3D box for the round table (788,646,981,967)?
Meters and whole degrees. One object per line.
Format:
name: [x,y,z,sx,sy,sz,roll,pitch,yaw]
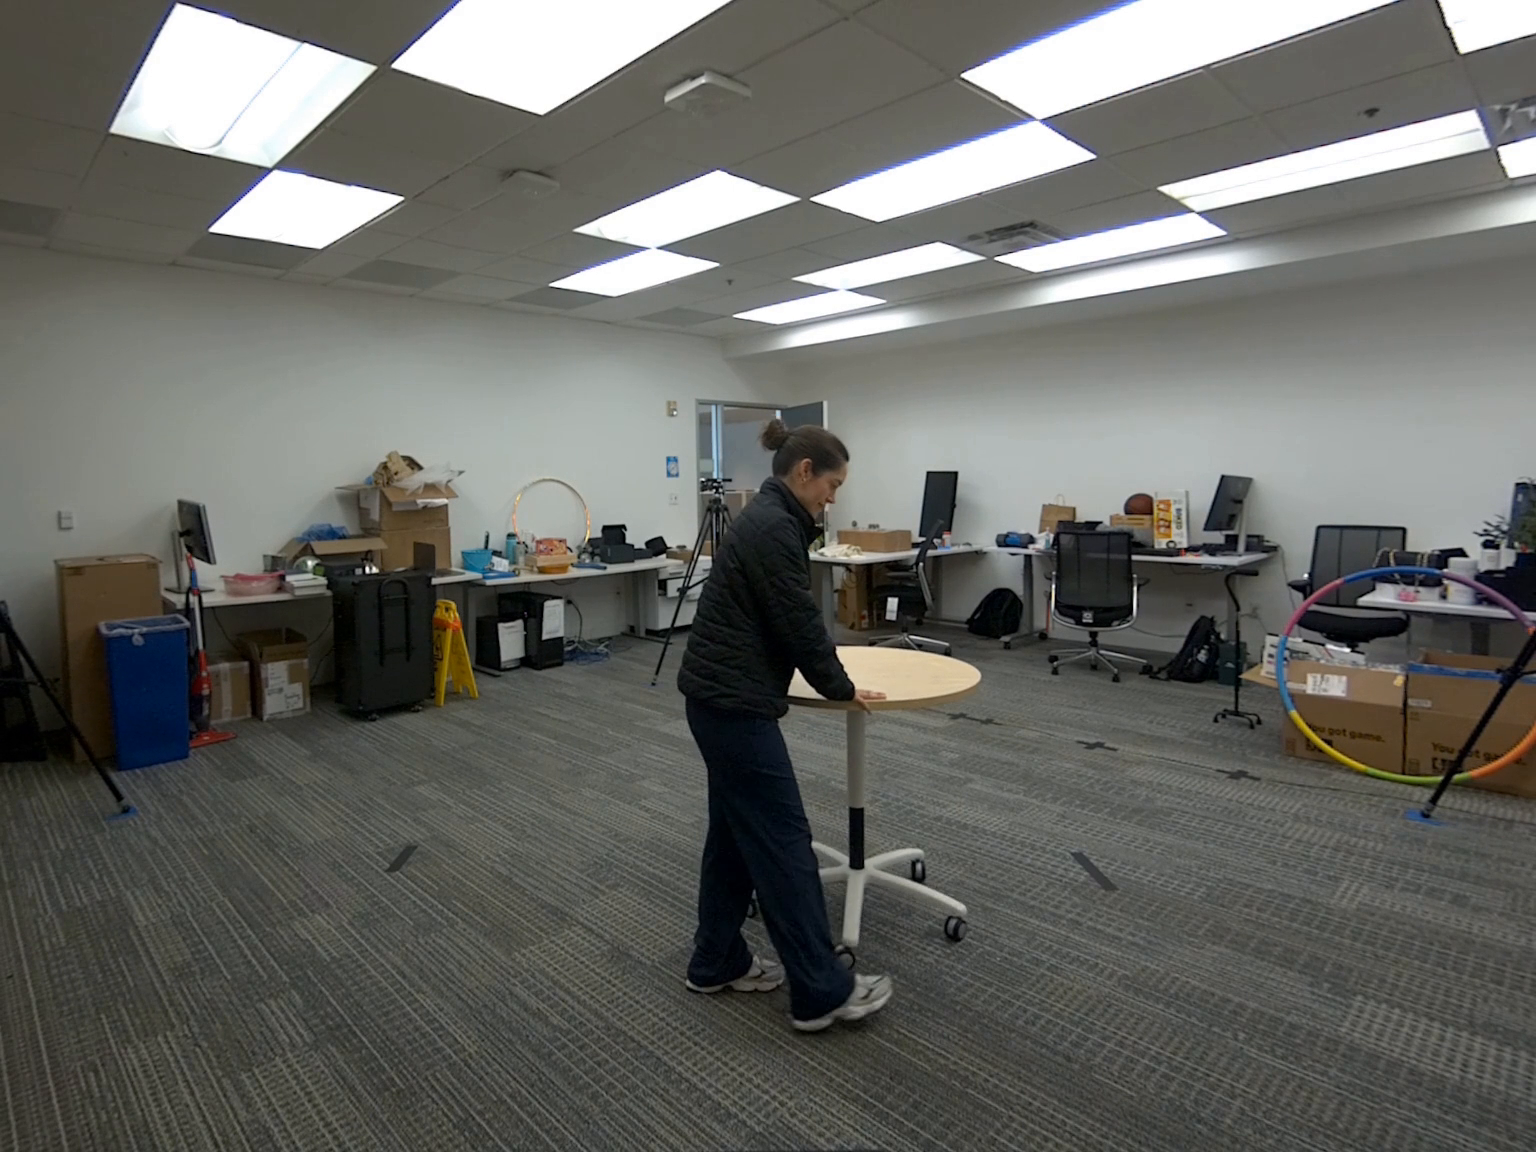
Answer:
round table: [0.279,0.688,2.746,0.784,0.783,0.789,-1,5,-2]
